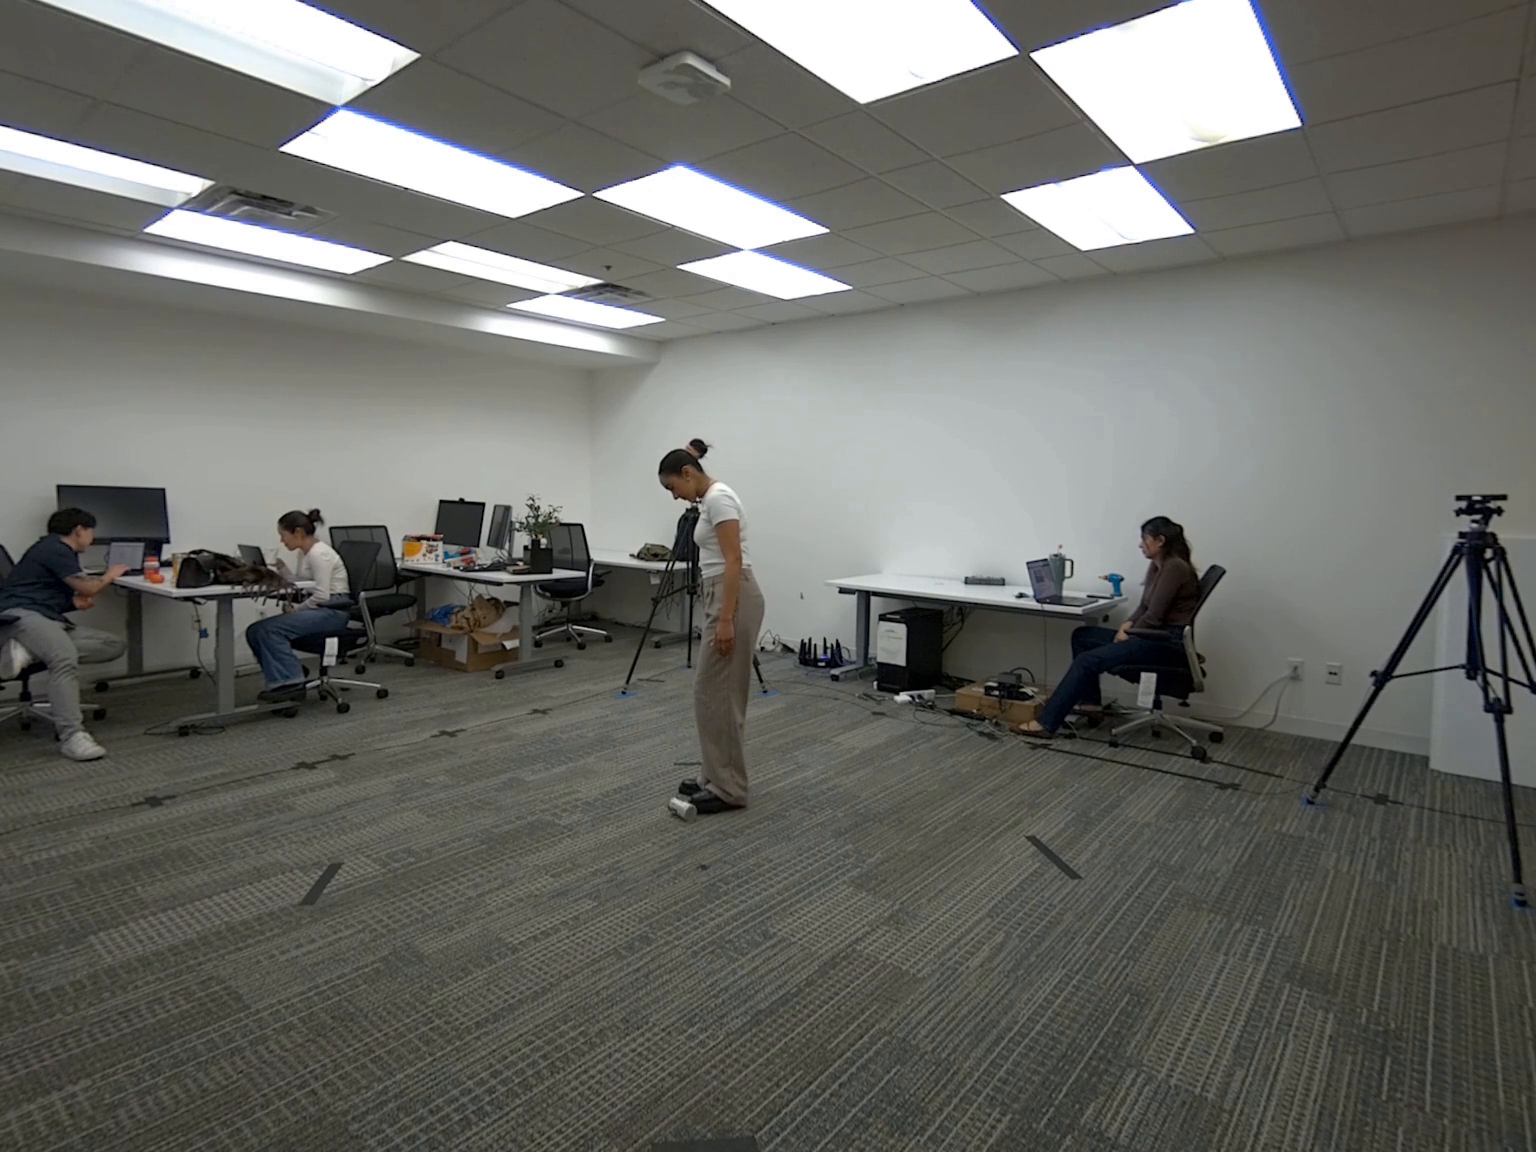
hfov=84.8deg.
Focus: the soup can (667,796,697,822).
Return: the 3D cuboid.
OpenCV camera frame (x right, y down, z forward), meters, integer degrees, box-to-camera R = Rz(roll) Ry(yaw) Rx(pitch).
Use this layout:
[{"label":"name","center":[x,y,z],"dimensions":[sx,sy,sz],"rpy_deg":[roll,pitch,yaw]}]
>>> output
[{"label":"soup can","center":[-0.377,0.978,3.602],"dimensions":[0.065,0.067,0.125],"rpy_deg":[-2,9,-32]}]
